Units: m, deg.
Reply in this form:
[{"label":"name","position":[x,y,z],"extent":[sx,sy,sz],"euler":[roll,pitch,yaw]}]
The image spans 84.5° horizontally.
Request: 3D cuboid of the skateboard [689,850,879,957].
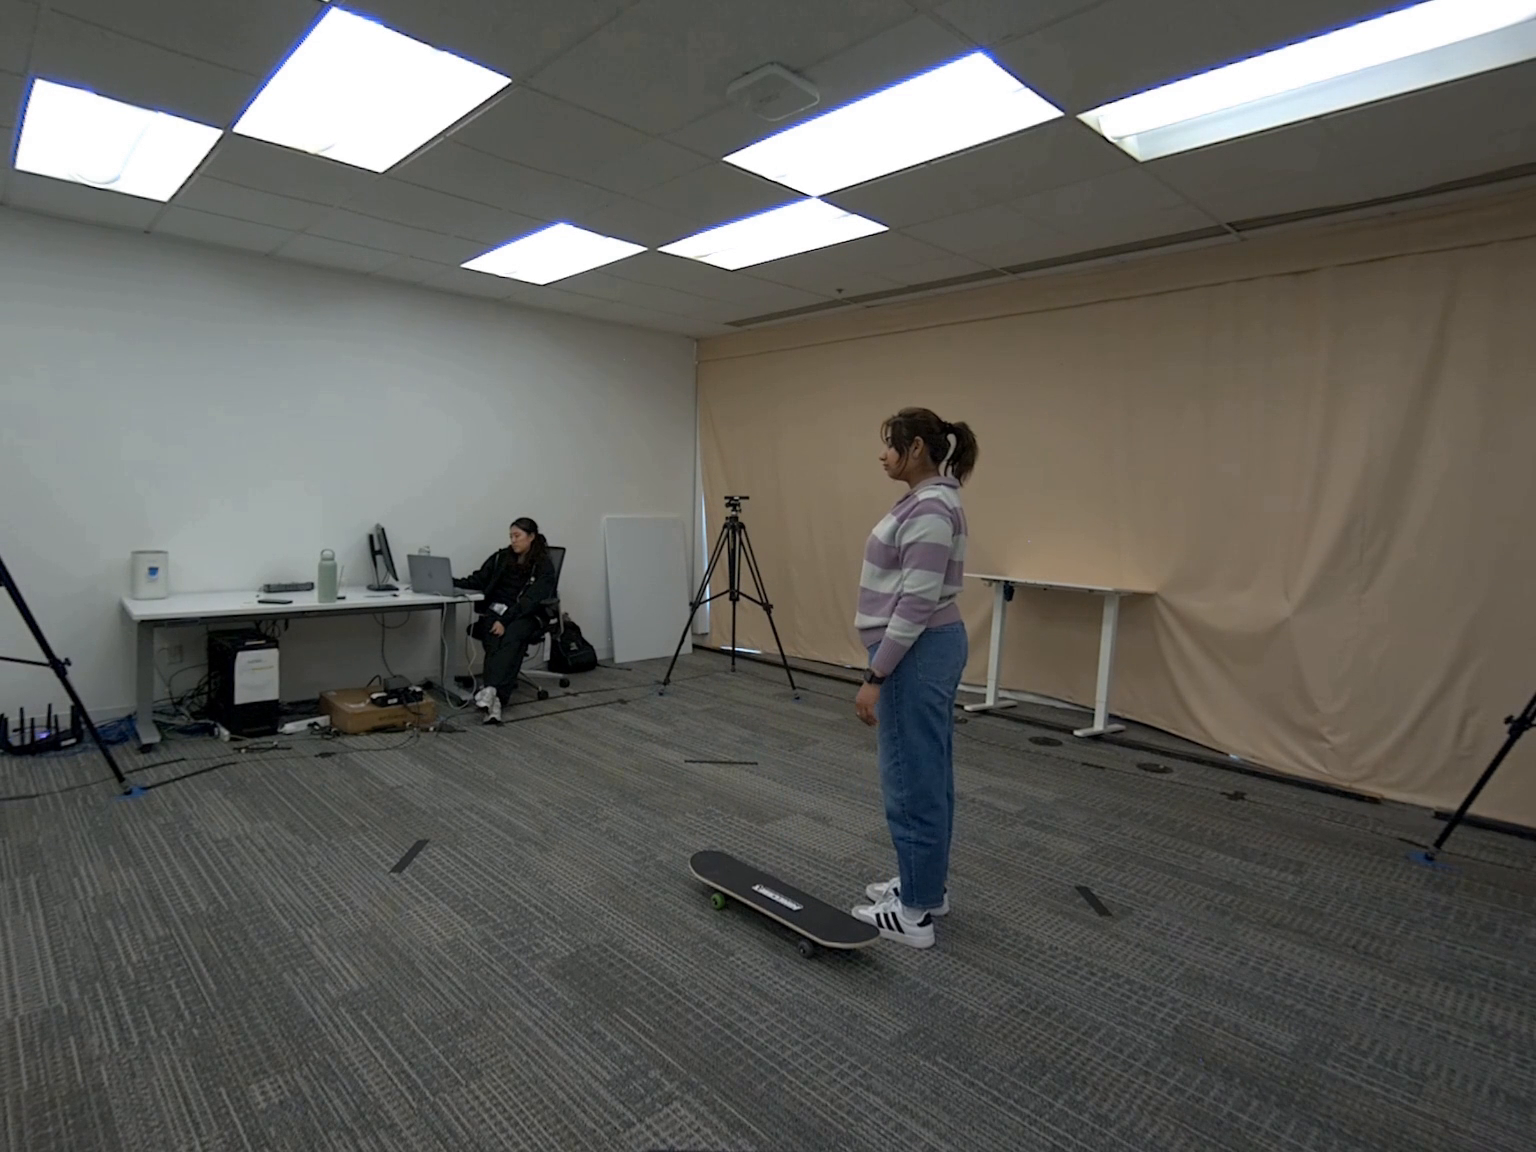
[{"label":"skateboard","position":[0.024,1.080,2.761],"extent":[0.189,0.110,0.806],"euler":[-3,7,-44]}]
